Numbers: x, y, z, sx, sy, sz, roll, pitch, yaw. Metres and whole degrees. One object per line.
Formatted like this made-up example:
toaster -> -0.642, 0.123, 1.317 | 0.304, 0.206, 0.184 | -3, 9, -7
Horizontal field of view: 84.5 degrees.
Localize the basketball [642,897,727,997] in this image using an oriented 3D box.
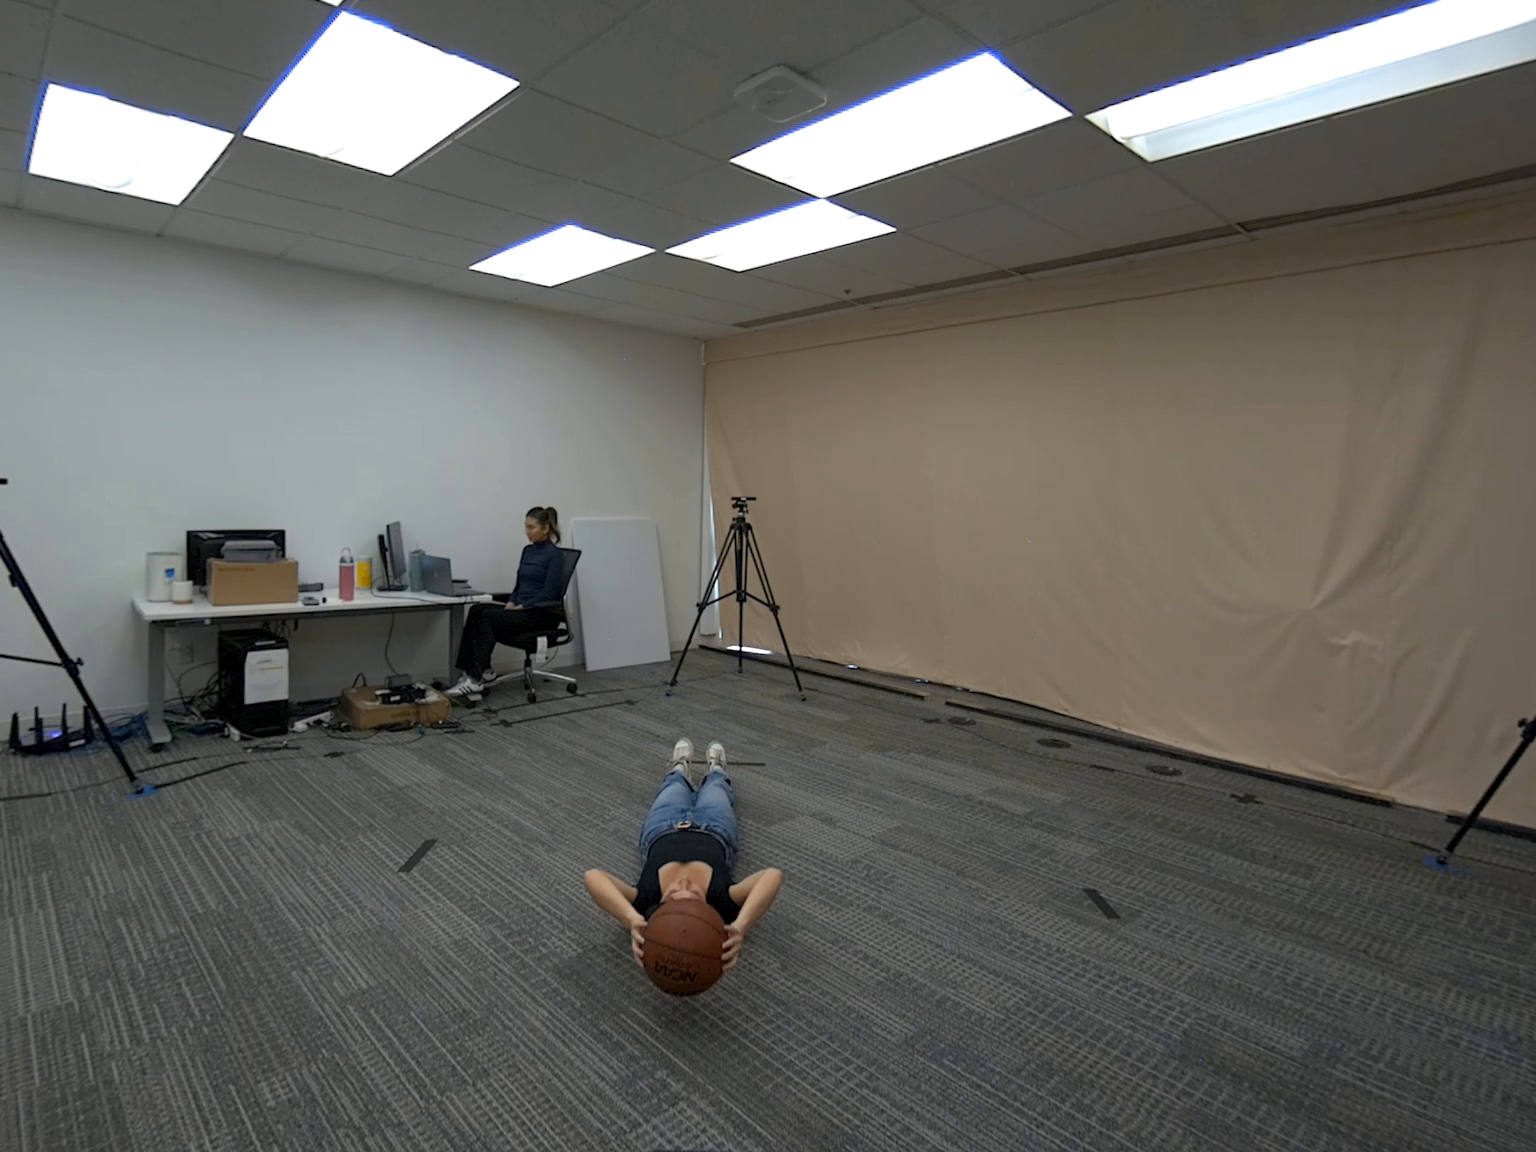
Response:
basketball -> -0.225, 0.985, 2.260 | 0.236, 0.235, 0.237 | 1, 4, -1
